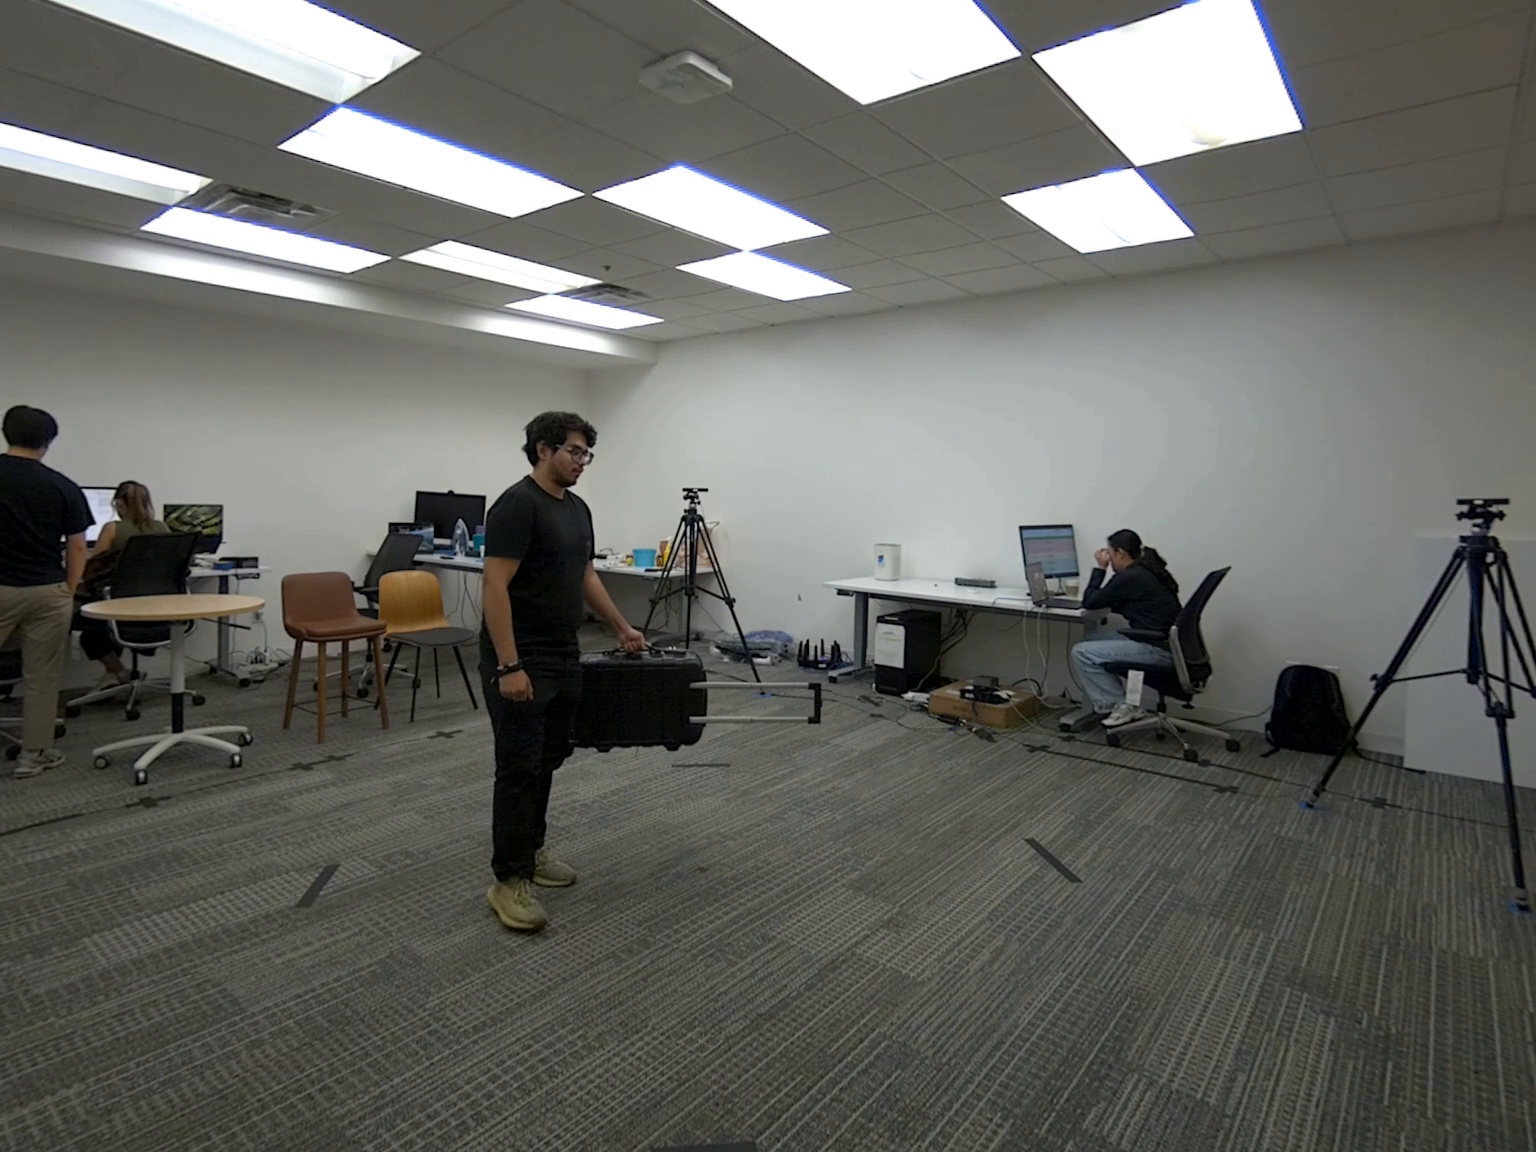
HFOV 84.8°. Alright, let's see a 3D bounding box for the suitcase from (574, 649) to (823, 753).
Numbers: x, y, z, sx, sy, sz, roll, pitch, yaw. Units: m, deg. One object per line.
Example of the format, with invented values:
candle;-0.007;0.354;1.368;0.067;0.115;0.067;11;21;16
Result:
suitcase;-0.310;0.461;3.282;0.973;0.383;0.259;-1;2;-5
